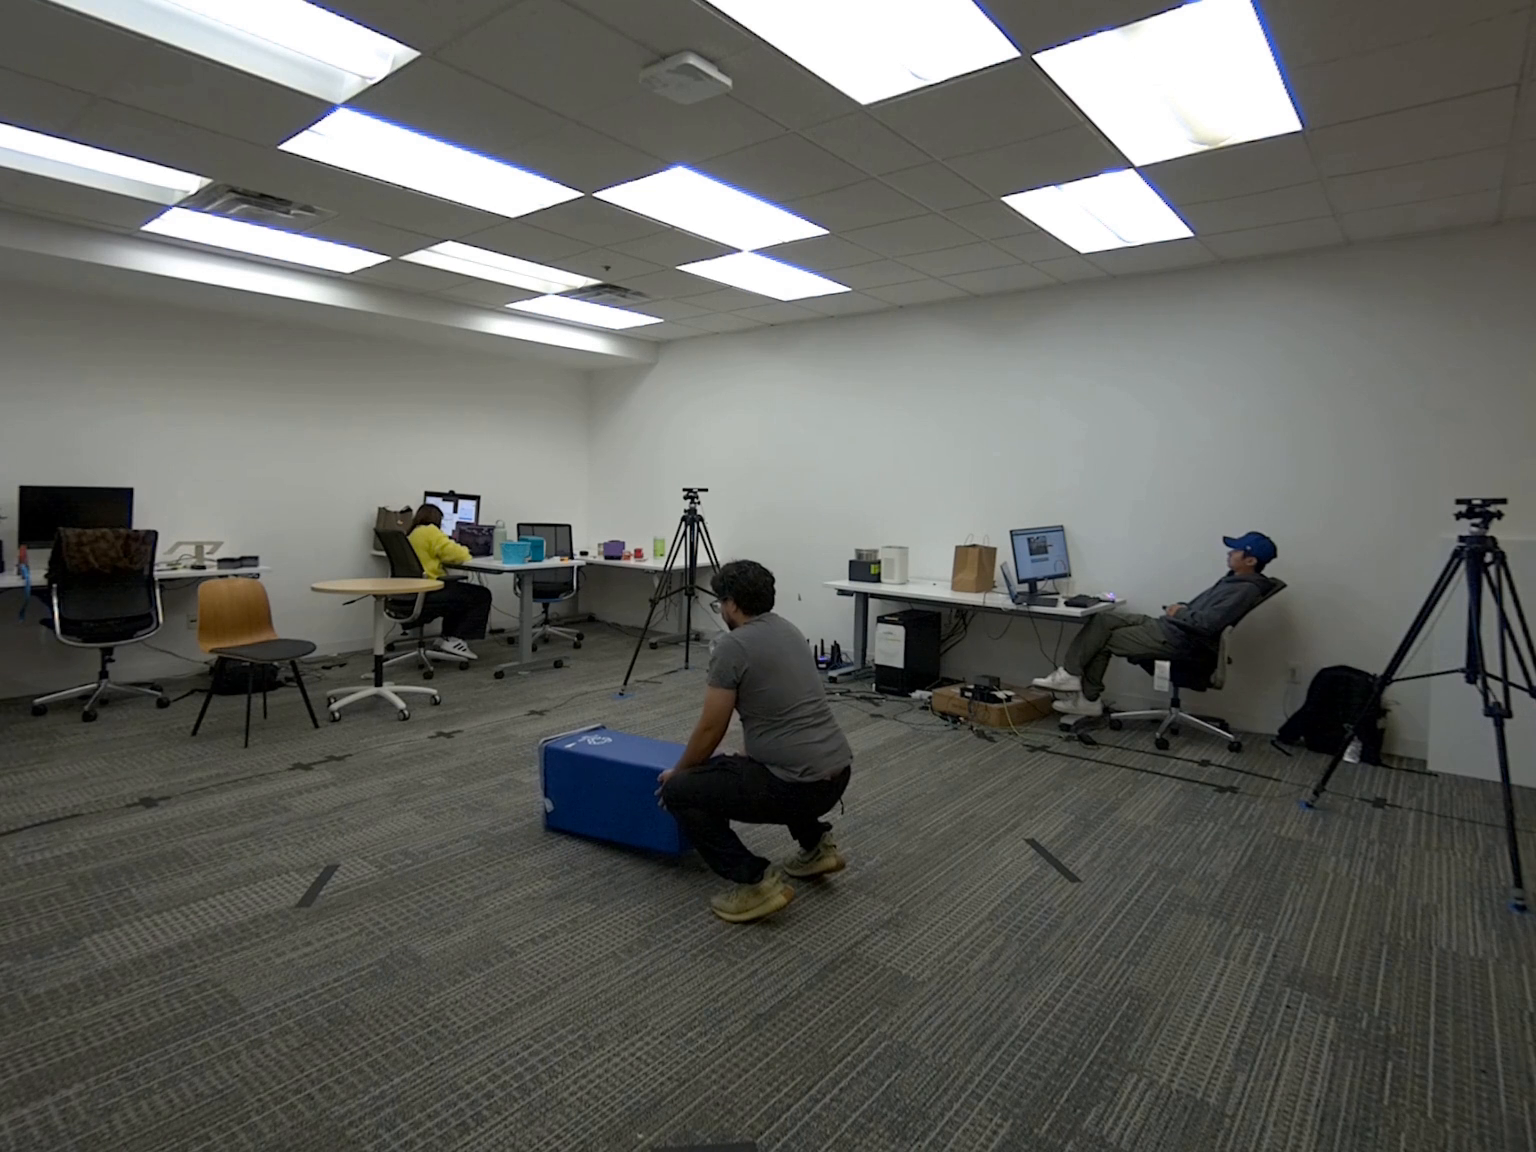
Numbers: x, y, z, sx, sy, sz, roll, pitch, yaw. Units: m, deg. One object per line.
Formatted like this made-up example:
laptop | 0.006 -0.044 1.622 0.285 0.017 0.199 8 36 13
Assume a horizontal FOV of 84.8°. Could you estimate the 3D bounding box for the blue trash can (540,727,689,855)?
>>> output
blue trash can | -0.542 0.838 3.344 0.736 0.378 0.363 1 2 37
